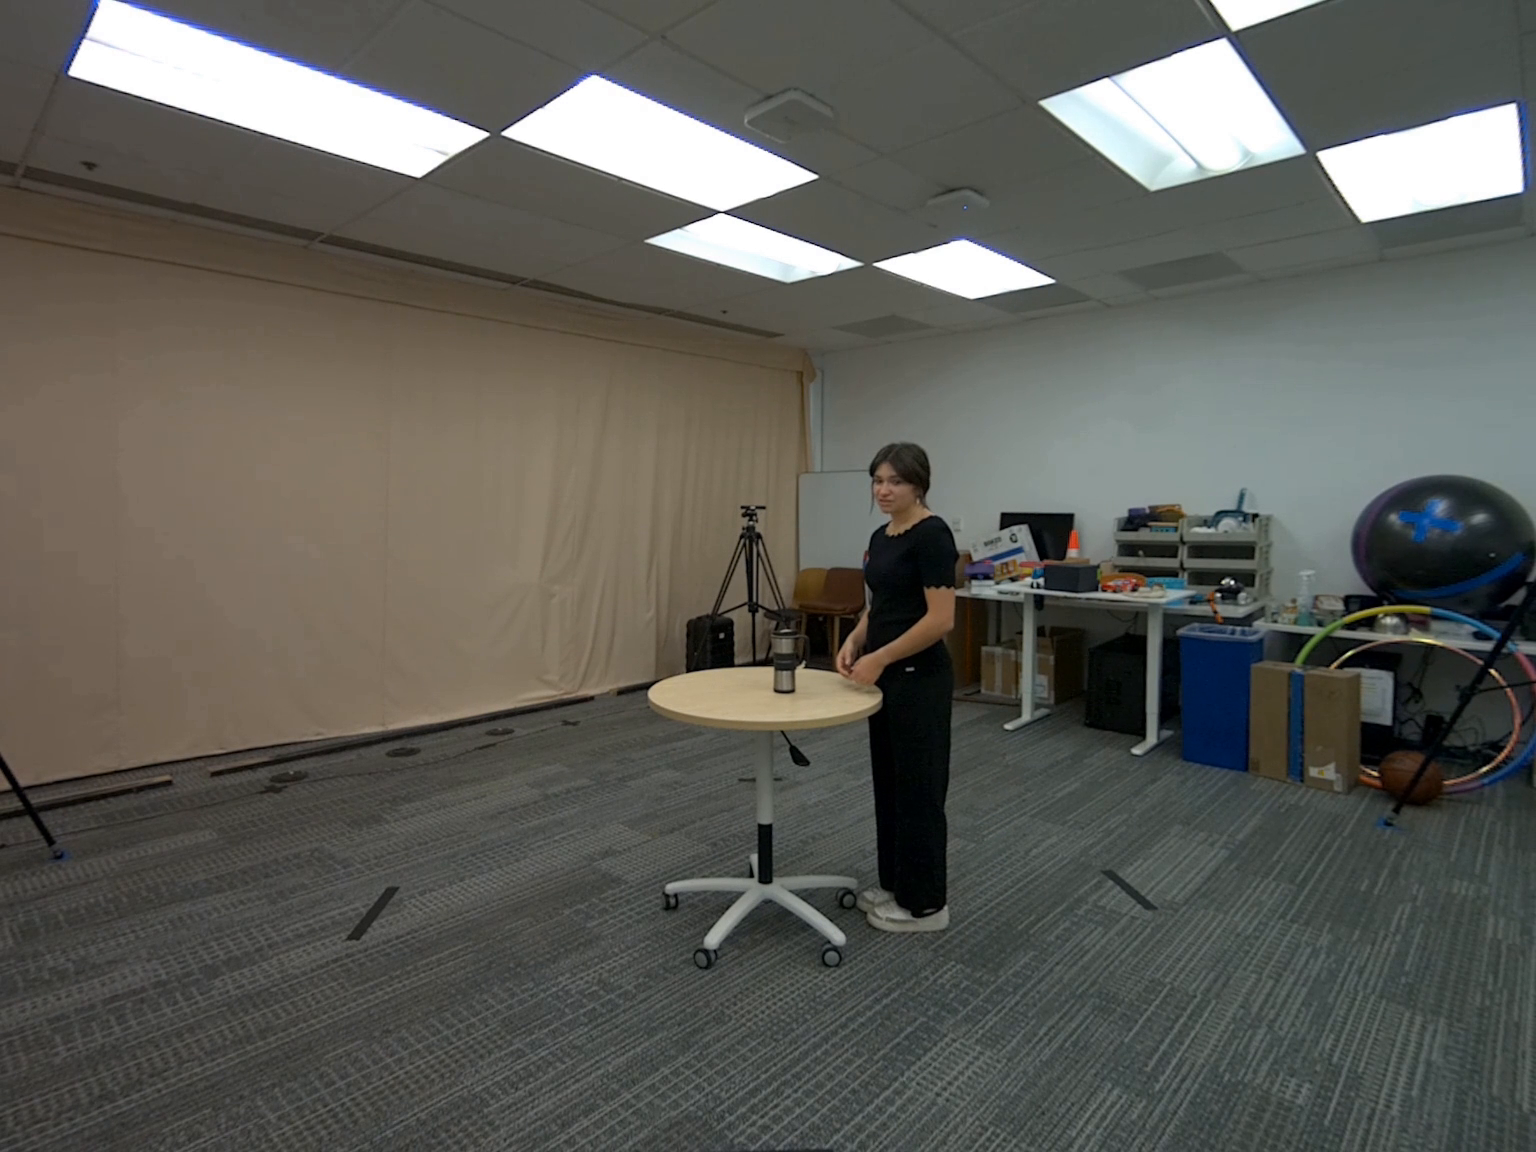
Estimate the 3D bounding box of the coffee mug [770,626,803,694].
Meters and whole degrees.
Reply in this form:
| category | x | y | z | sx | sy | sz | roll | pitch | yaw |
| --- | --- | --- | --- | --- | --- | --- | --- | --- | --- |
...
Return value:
| category | x | y | z | sx | sy | sz | roll | pitch | yaw |
| --- | --- | --- | --- | --- | --- | --- | --- | --- | --- |
| coffee mug | 0.076 | 0.287 | 2.734 | 0.085 | 0.203 | 0.126 | 3 | 0 | -45 |
